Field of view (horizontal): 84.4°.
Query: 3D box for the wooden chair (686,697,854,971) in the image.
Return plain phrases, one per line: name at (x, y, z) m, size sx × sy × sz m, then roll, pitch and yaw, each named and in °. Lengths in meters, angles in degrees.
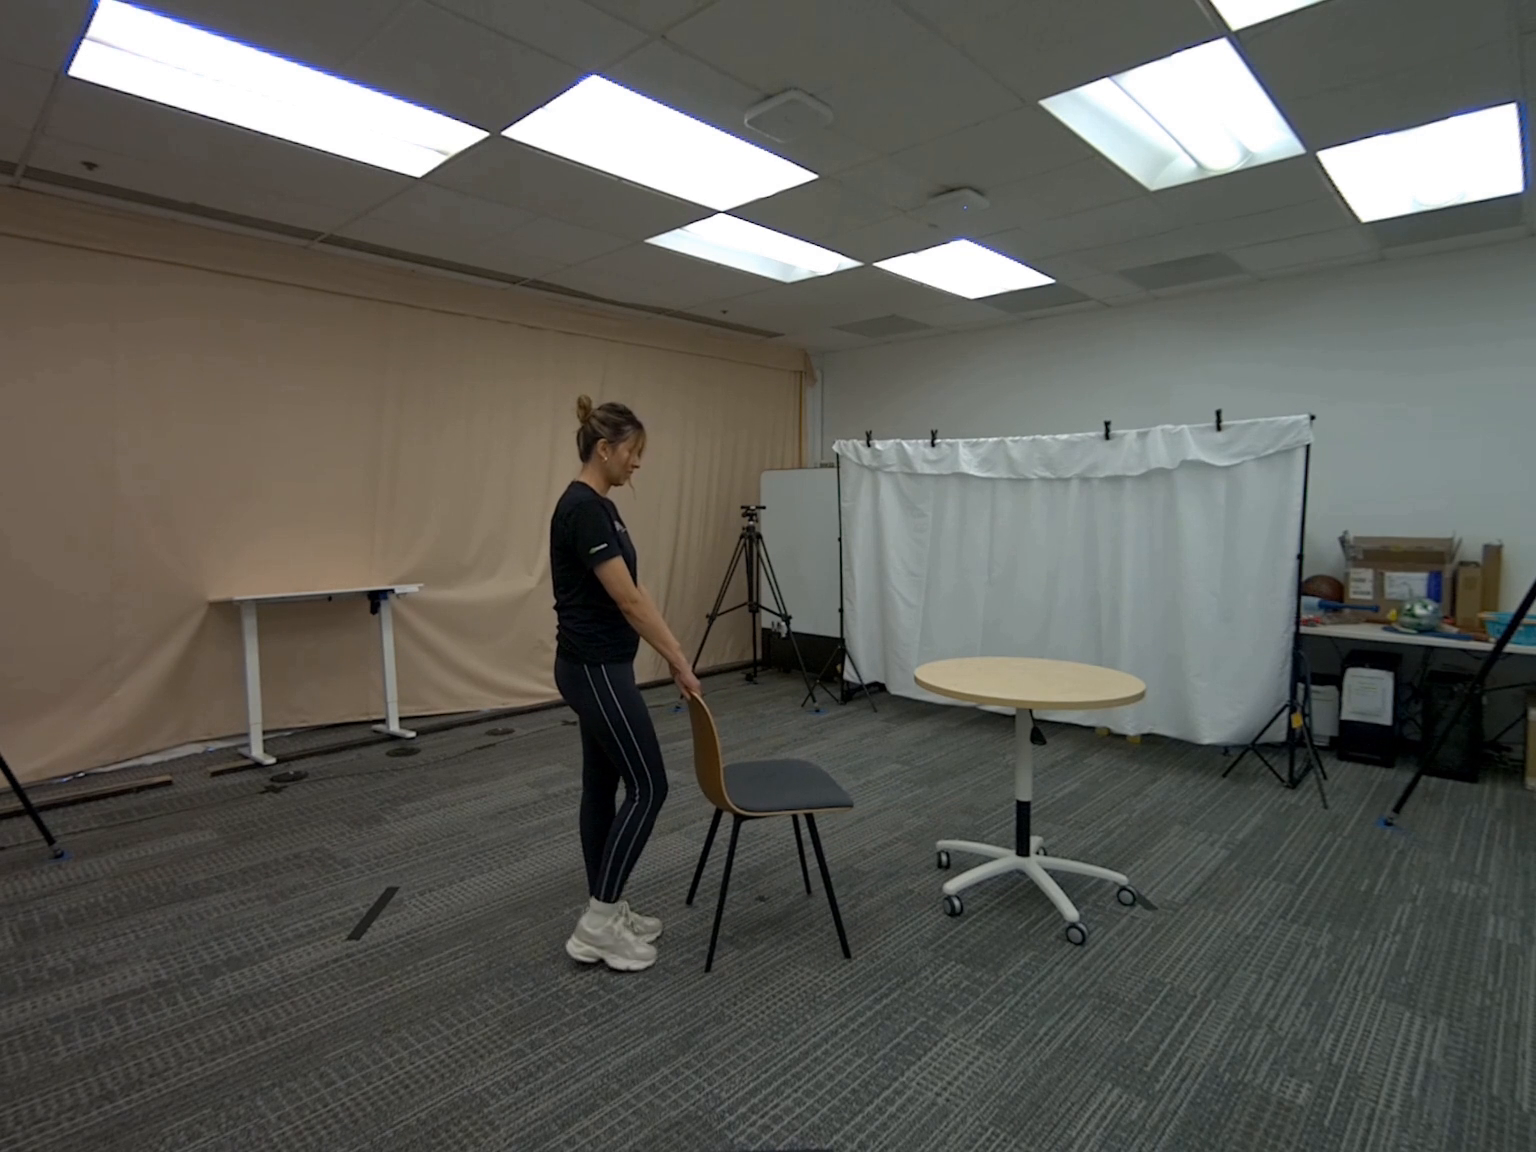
wooden chair at (-0.005, 0.739, 2.744) m, size 0.517 × 0.875 × 0.484 m, roll -5°, pitch 3°, yaw -12°
